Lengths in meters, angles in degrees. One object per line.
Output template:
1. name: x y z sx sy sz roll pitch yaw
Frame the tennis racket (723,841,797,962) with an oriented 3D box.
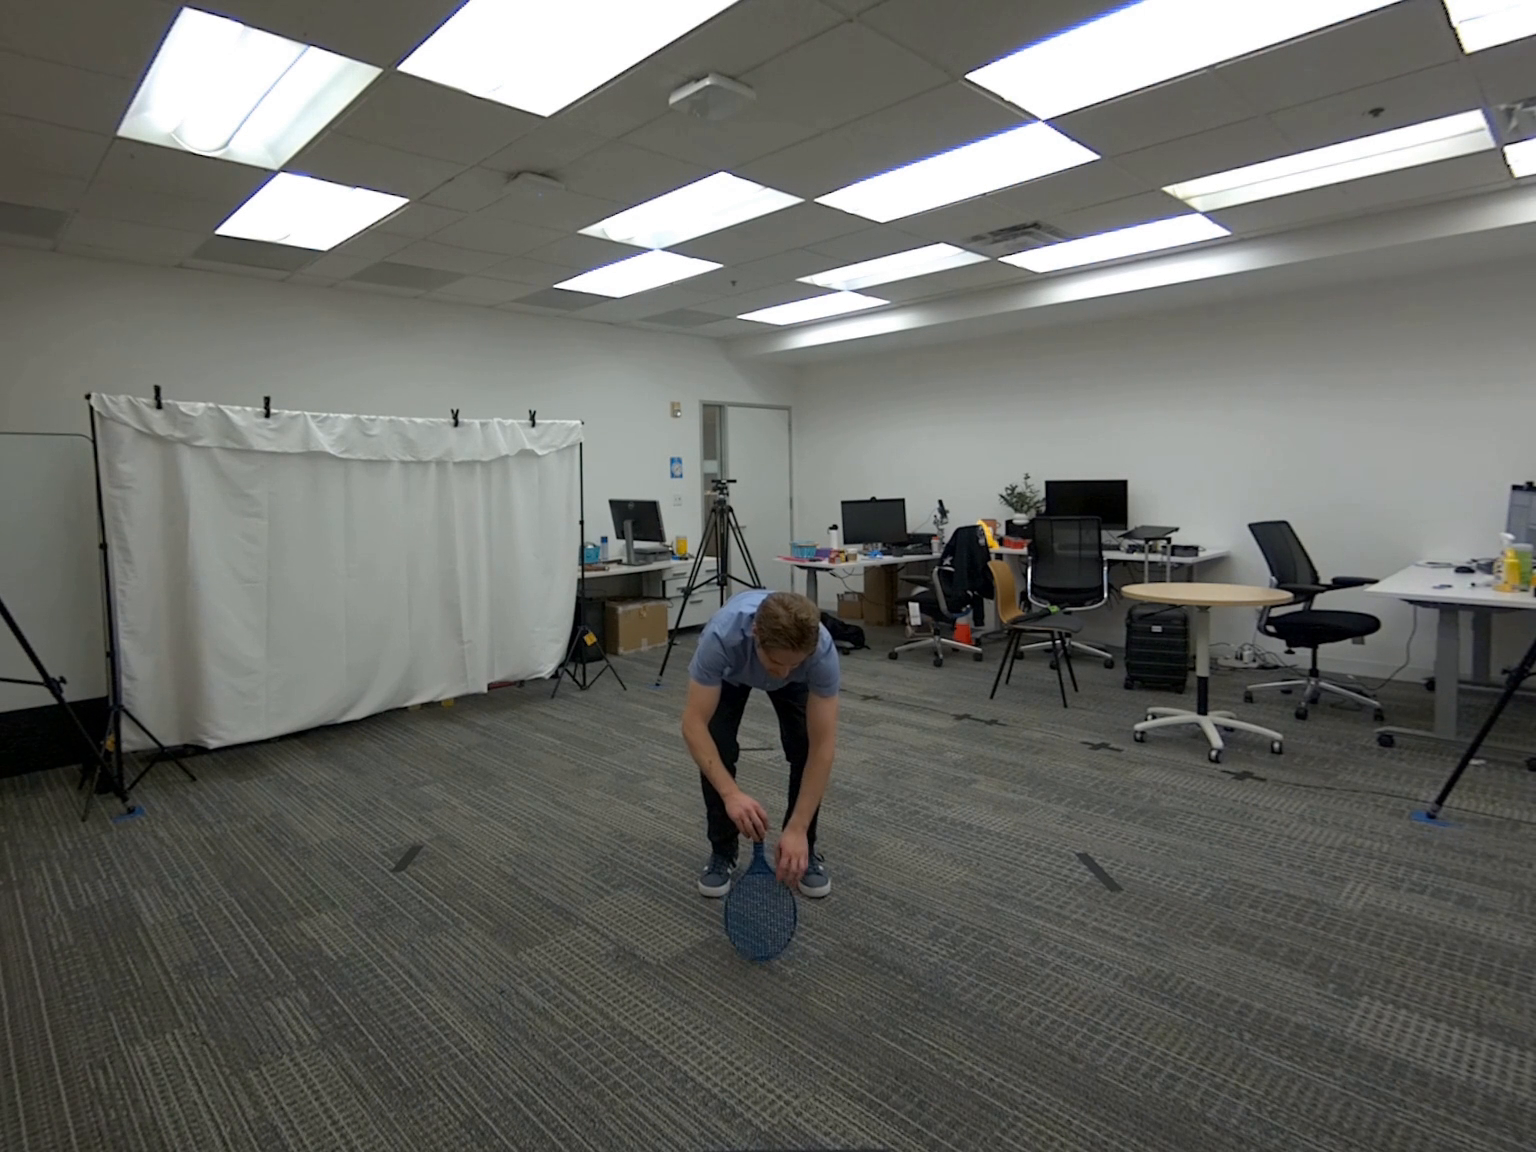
1. tennis racket: -0.014 0.906 2.482 0.216 0.431 0.031 4 3 10
